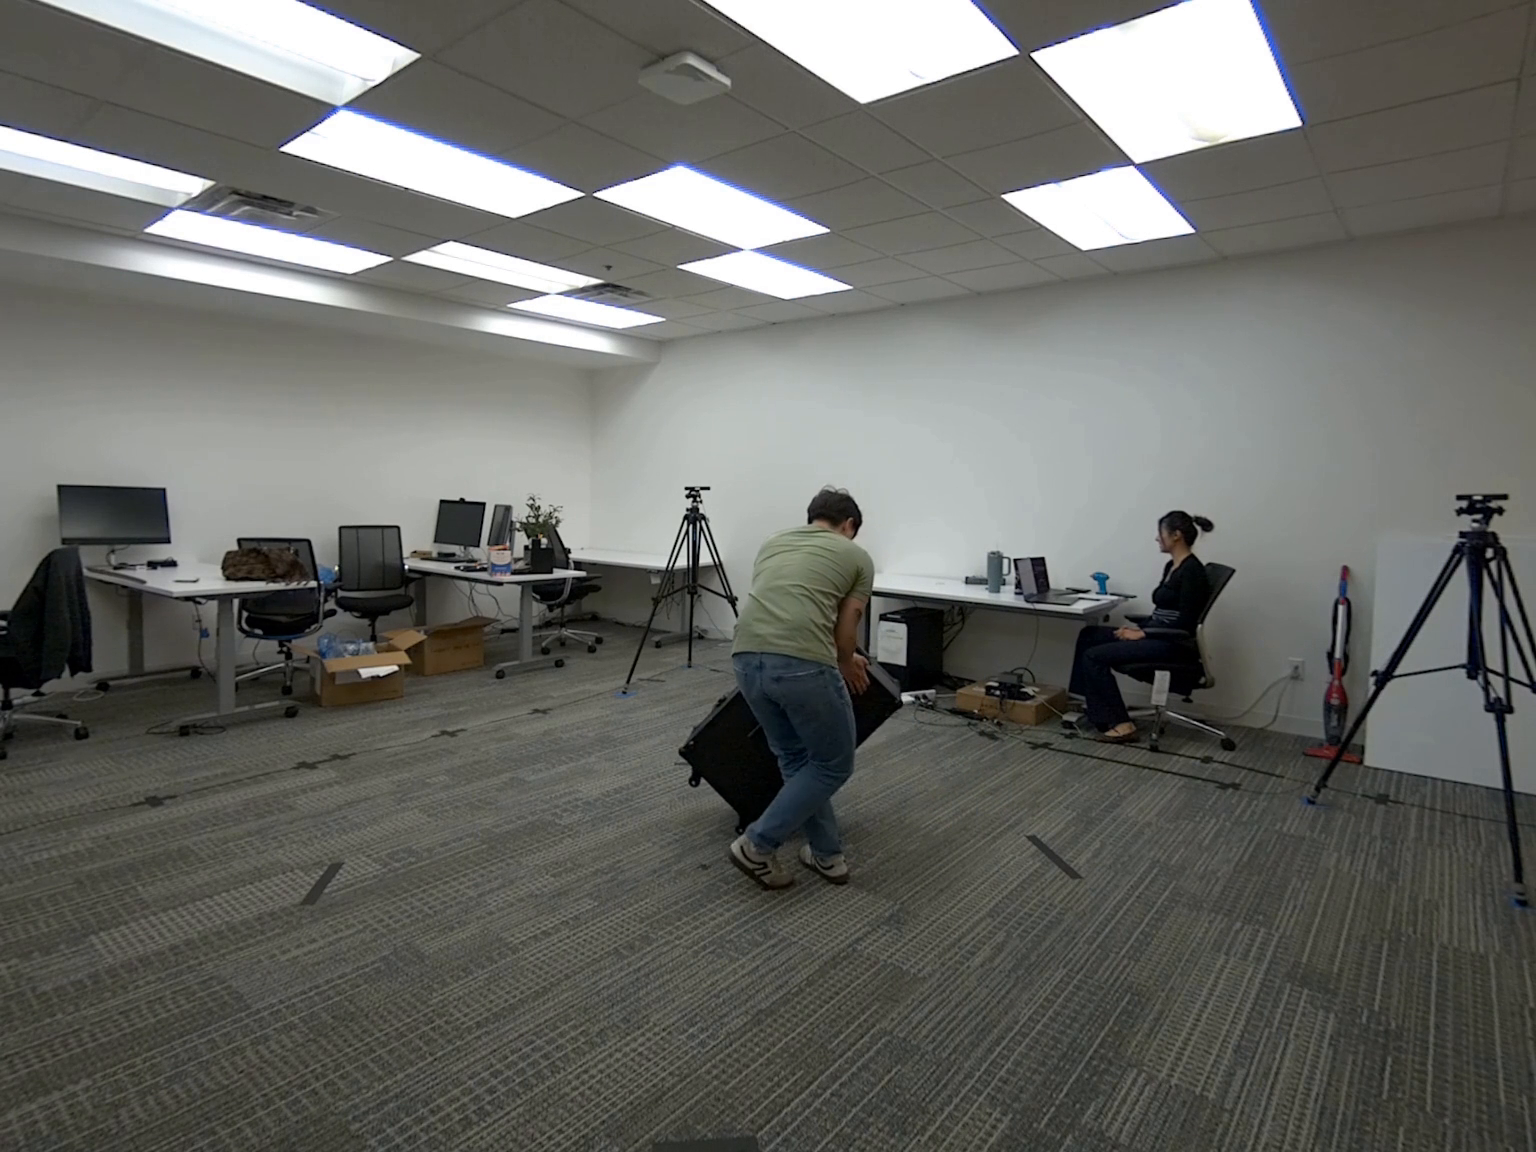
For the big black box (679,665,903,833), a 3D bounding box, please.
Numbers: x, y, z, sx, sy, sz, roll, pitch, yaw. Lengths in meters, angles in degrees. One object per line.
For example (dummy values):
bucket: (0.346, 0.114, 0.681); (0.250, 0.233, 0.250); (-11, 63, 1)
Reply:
big black box: (0.097, 0.566, 3.497); (0.525, 0.861, 0.394); (44, 7, 3)
